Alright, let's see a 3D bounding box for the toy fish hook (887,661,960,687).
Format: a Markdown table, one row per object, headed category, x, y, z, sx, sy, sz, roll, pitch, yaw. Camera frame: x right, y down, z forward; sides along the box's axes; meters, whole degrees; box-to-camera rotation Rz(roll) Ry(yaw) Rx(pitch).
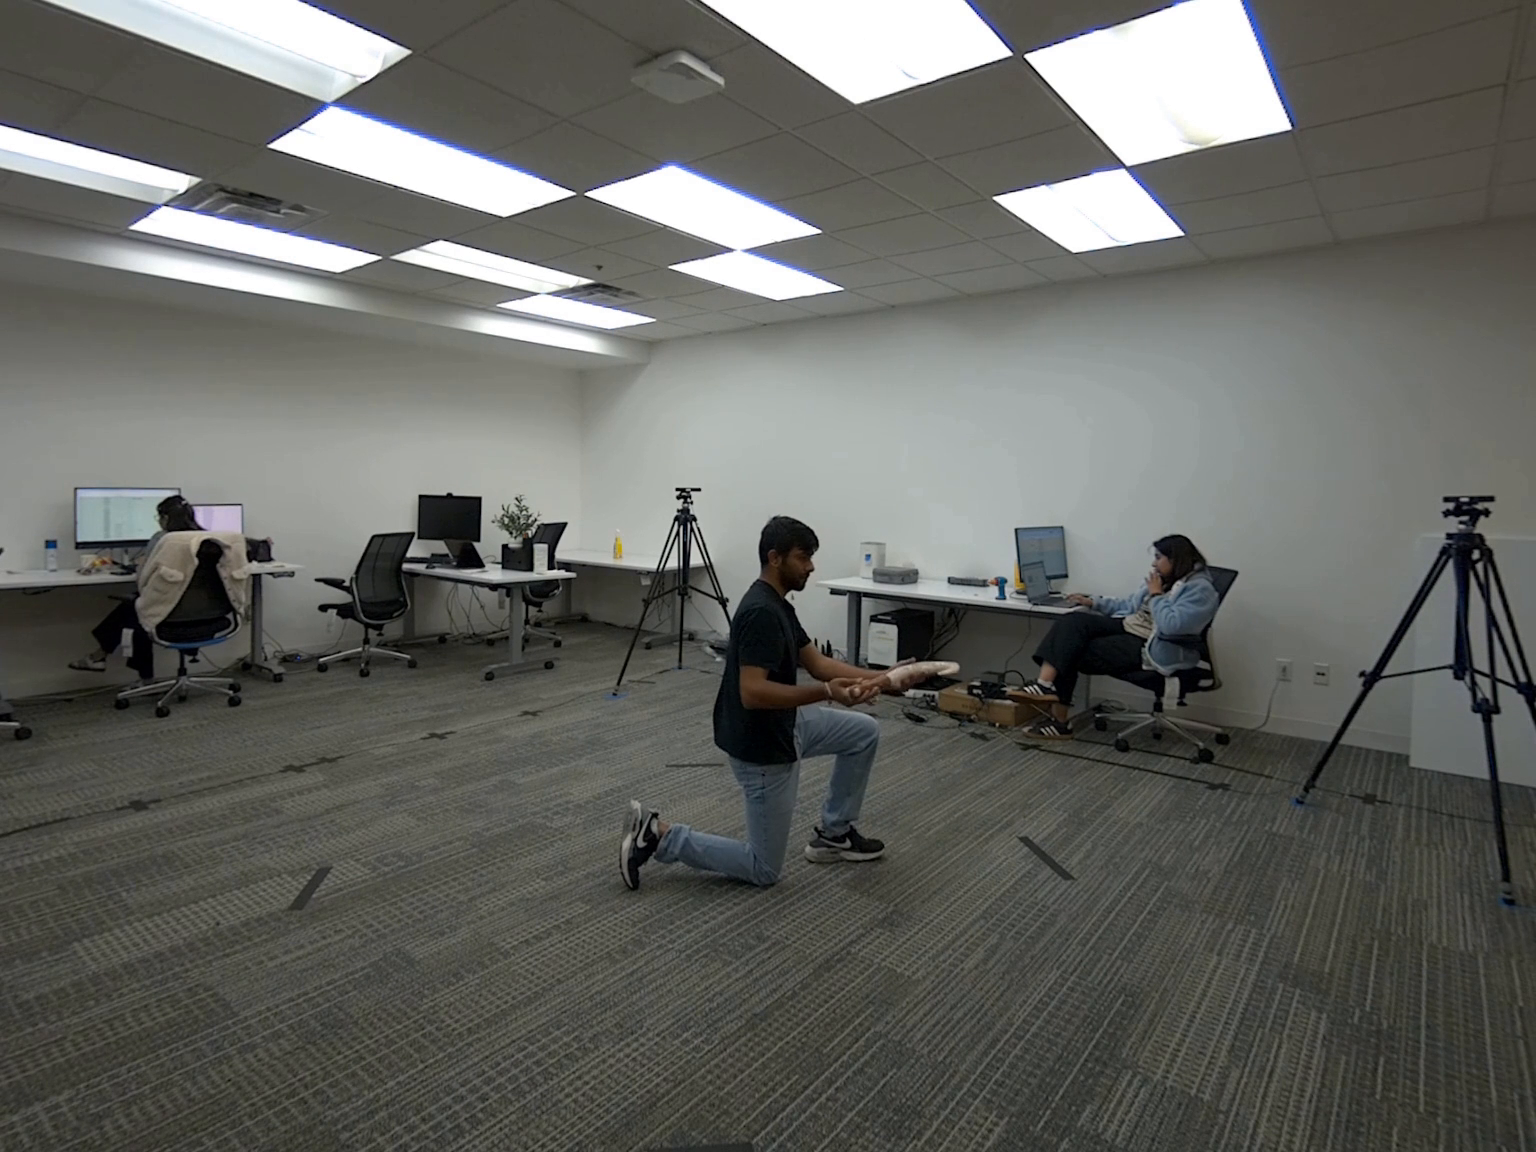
| category | x | y | z | sx | sy | sz | roll | pitch | yaw |
| --- | --- | --- | --- | --- | --- | --- | --- | --- | --- |
| toy fish hook | 0.419 | 0.319 | 2.704 | 0.230 | 0.048 | 0.493 | -14 | -3 | 43 |
